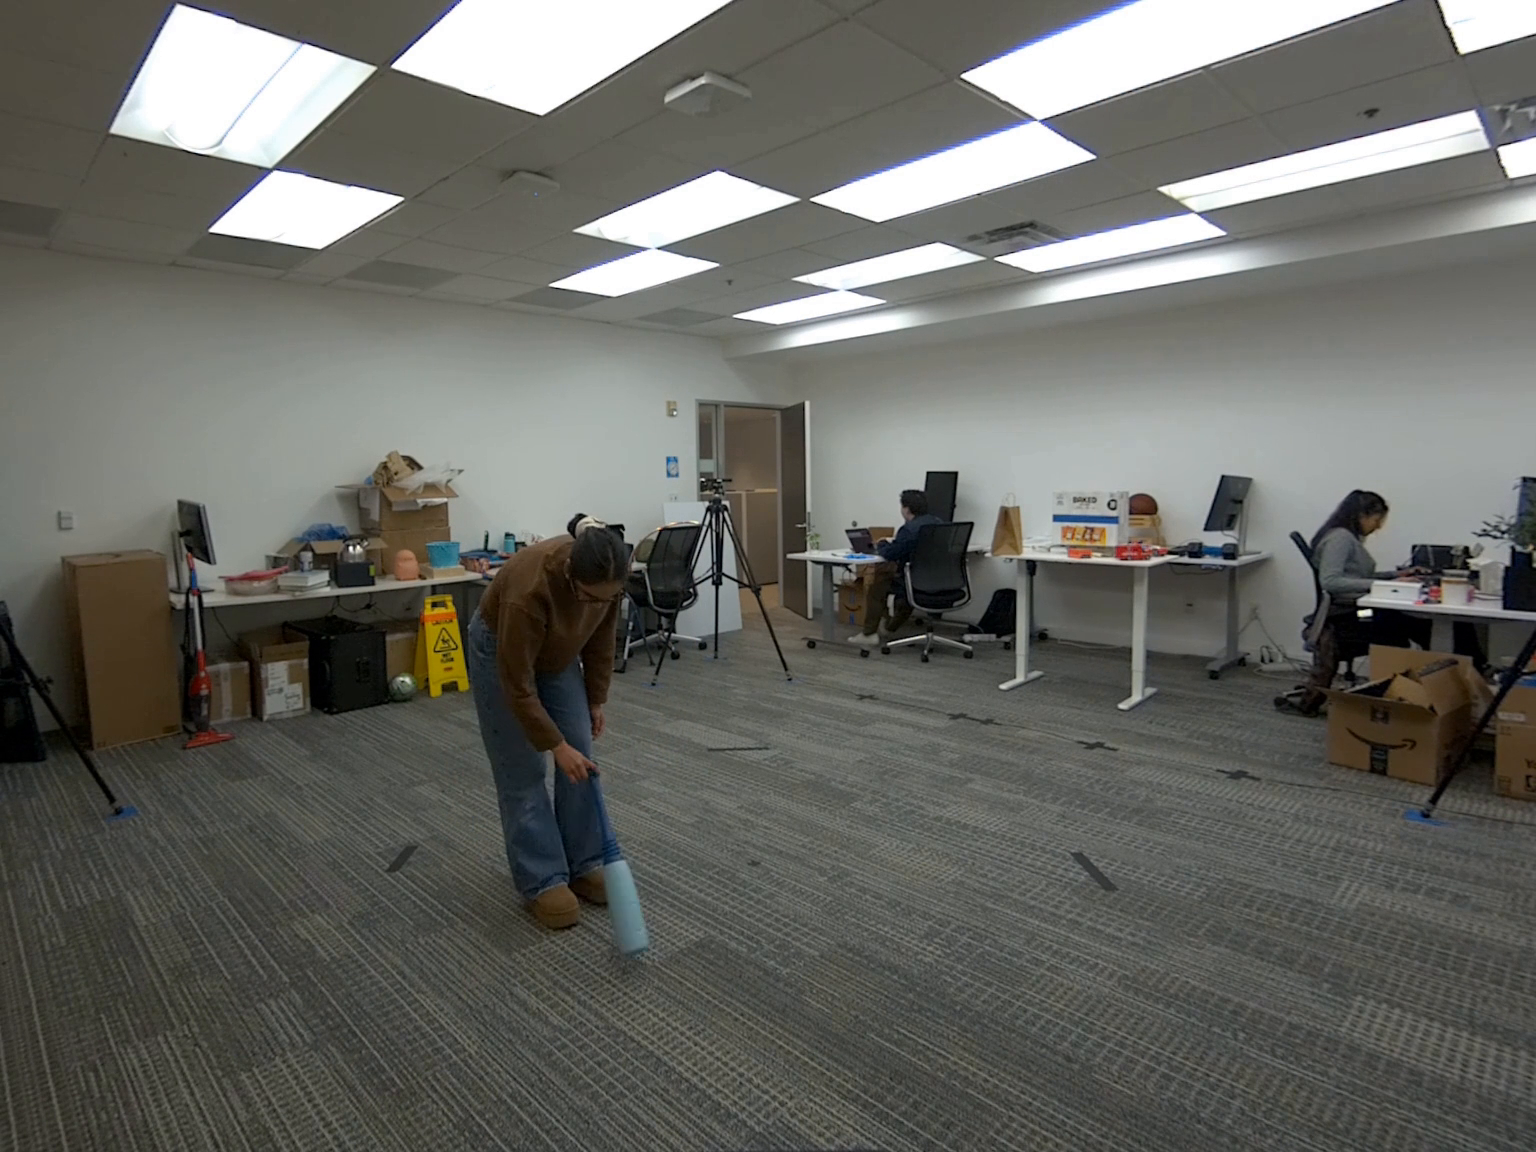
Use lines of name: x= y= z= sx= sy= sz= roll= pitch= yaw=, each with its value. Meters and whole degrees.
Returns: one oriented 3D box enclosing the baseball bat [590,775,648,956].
baseball bat: x=-0.460 y=0.844 z=2.547 sx=0.088 sy=0.558 sz=0.087 roll=-15 pitch=-26 yaw=-9
